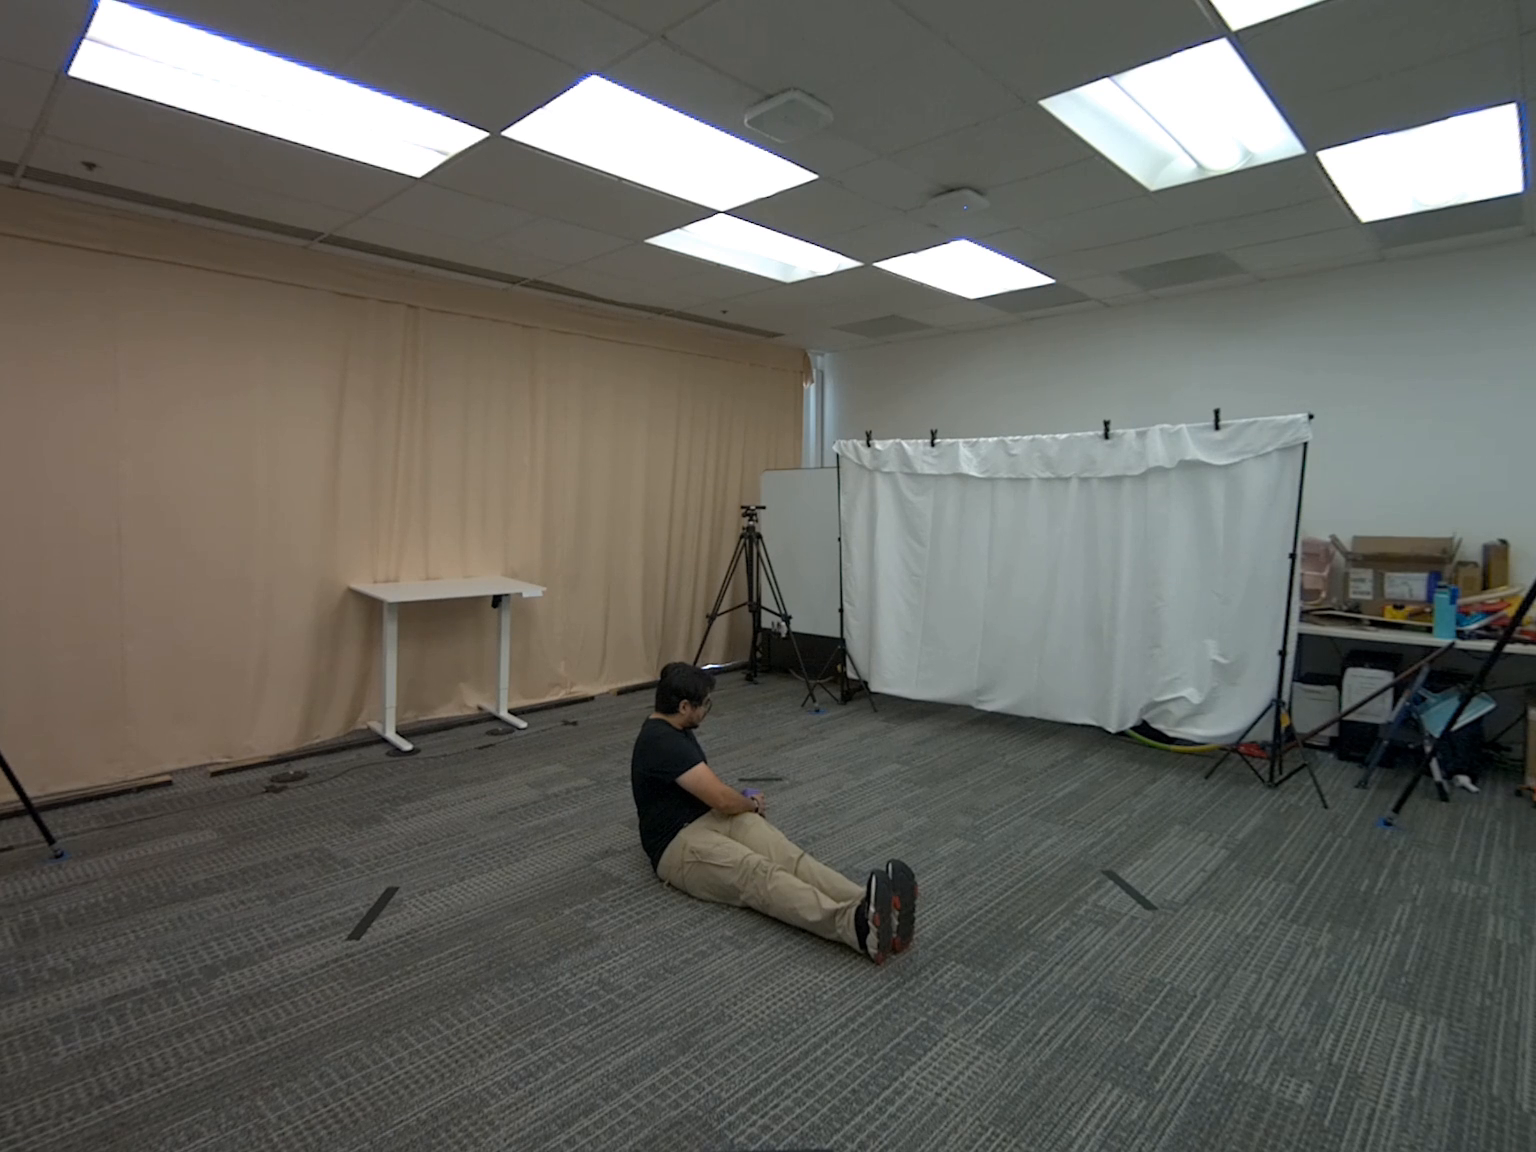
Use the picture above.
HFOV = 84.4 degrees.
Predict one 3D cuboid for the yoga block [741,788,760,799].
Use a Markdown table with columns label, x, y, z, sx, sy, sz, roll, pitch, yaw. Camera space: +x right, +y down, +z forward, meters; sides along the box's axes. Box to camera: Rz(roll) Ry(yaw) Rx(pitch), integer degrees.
| label | x | y | z | sx | sy | sz | roll | pitch | yaw |
| --- | --- | --- | --- | --- | --- | --- | --- | --- | --- |
| yoga block | -0.120 | 0.986 | 3.443 | 0.075 | 0.151 | 0.230 | 13 | -35 | -20 |
